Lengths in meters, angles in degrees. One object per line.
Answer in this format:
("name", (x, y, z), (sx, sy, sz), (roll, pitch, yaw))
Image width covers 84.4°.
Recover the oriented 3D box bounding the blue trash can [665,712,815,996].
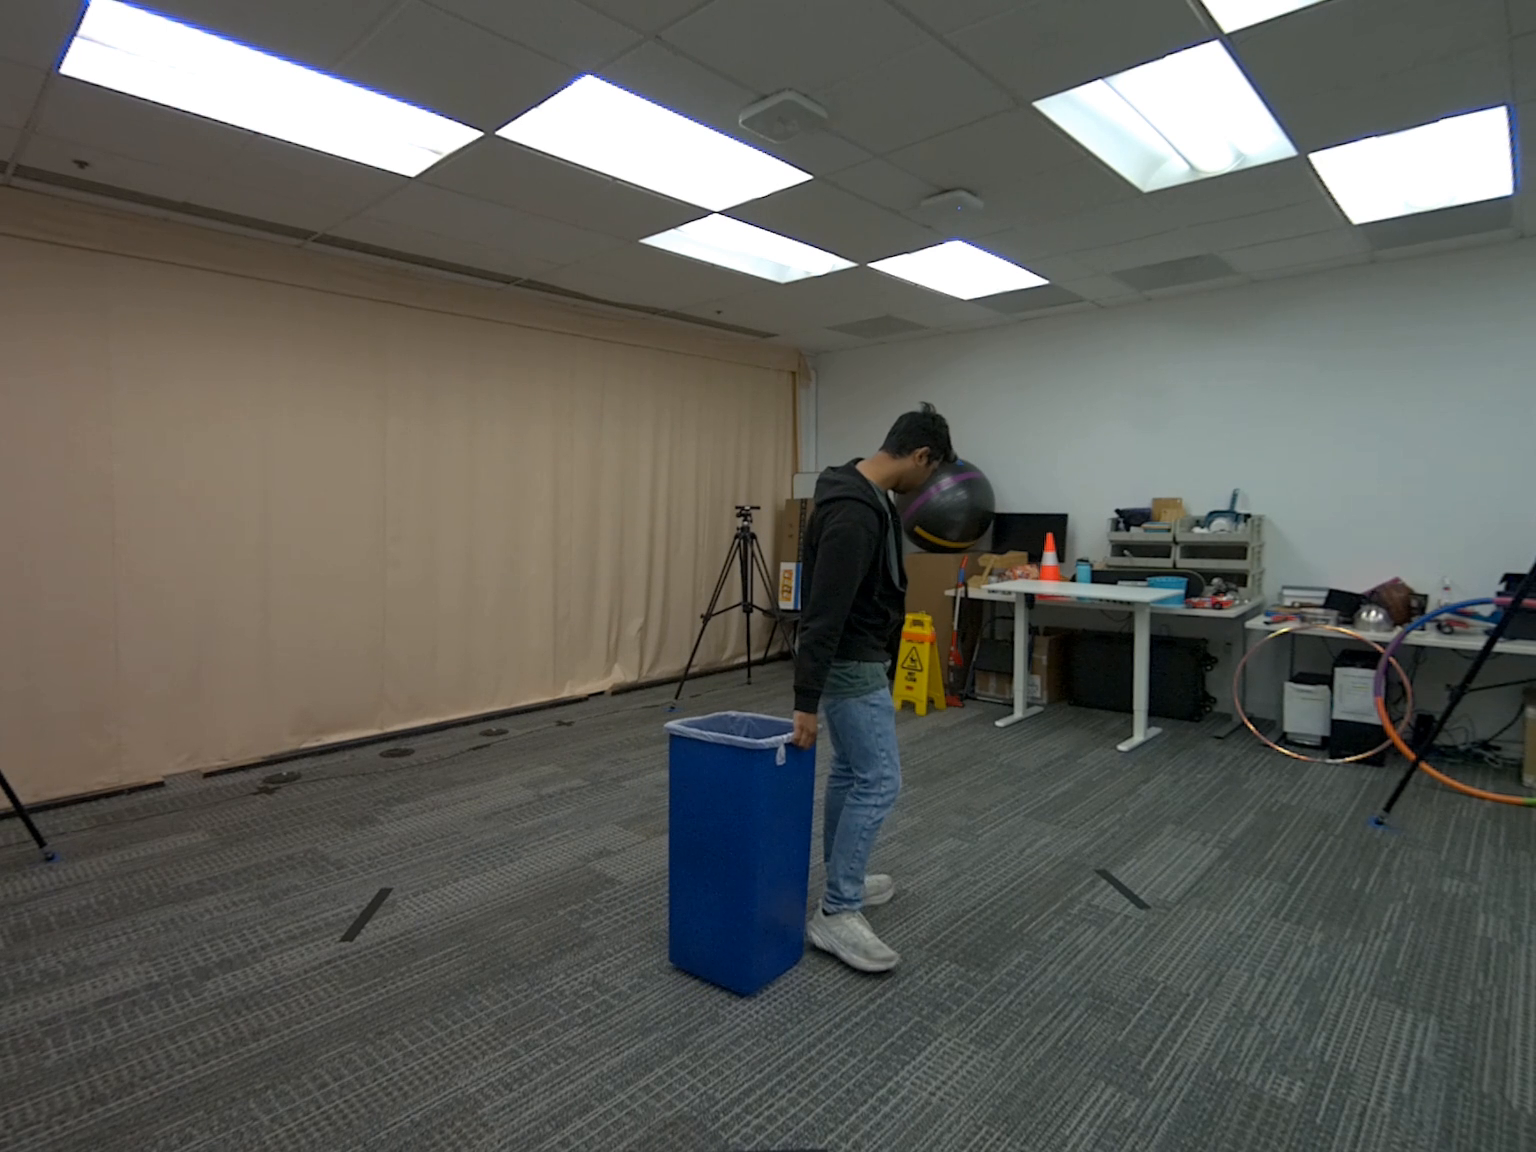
("blue trash can", (-0.081, 0.814, 2.570), (0.390, 0.713, 0.363), (1, 0, 34))
